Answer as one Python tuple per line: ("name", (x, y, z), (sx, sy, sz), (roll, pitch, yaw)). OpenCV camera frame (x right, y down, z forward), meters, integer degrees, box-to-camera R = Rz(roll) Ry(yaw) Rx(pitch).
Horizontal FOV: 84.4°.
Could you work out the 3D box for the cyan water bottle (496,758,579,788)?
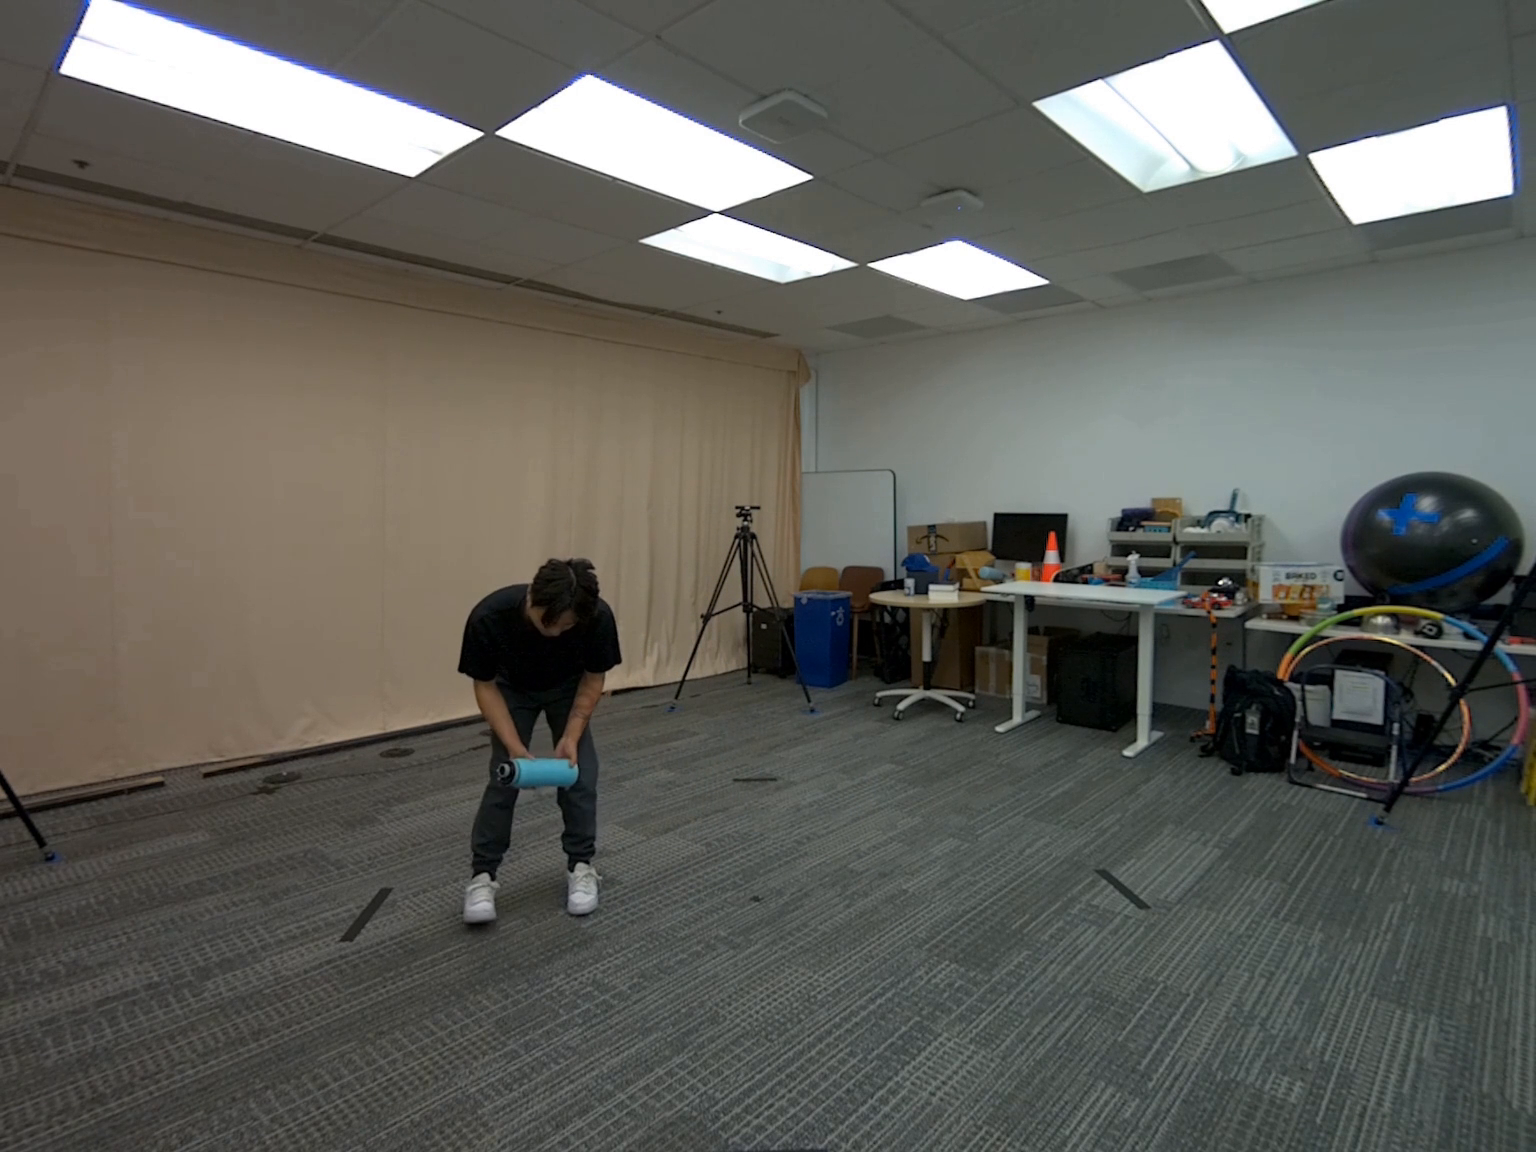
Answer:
("cyan water bottle", (-0.756, 0.635, 2.736), (0.095, 0.092, 0.273), (3, -8, 42))
